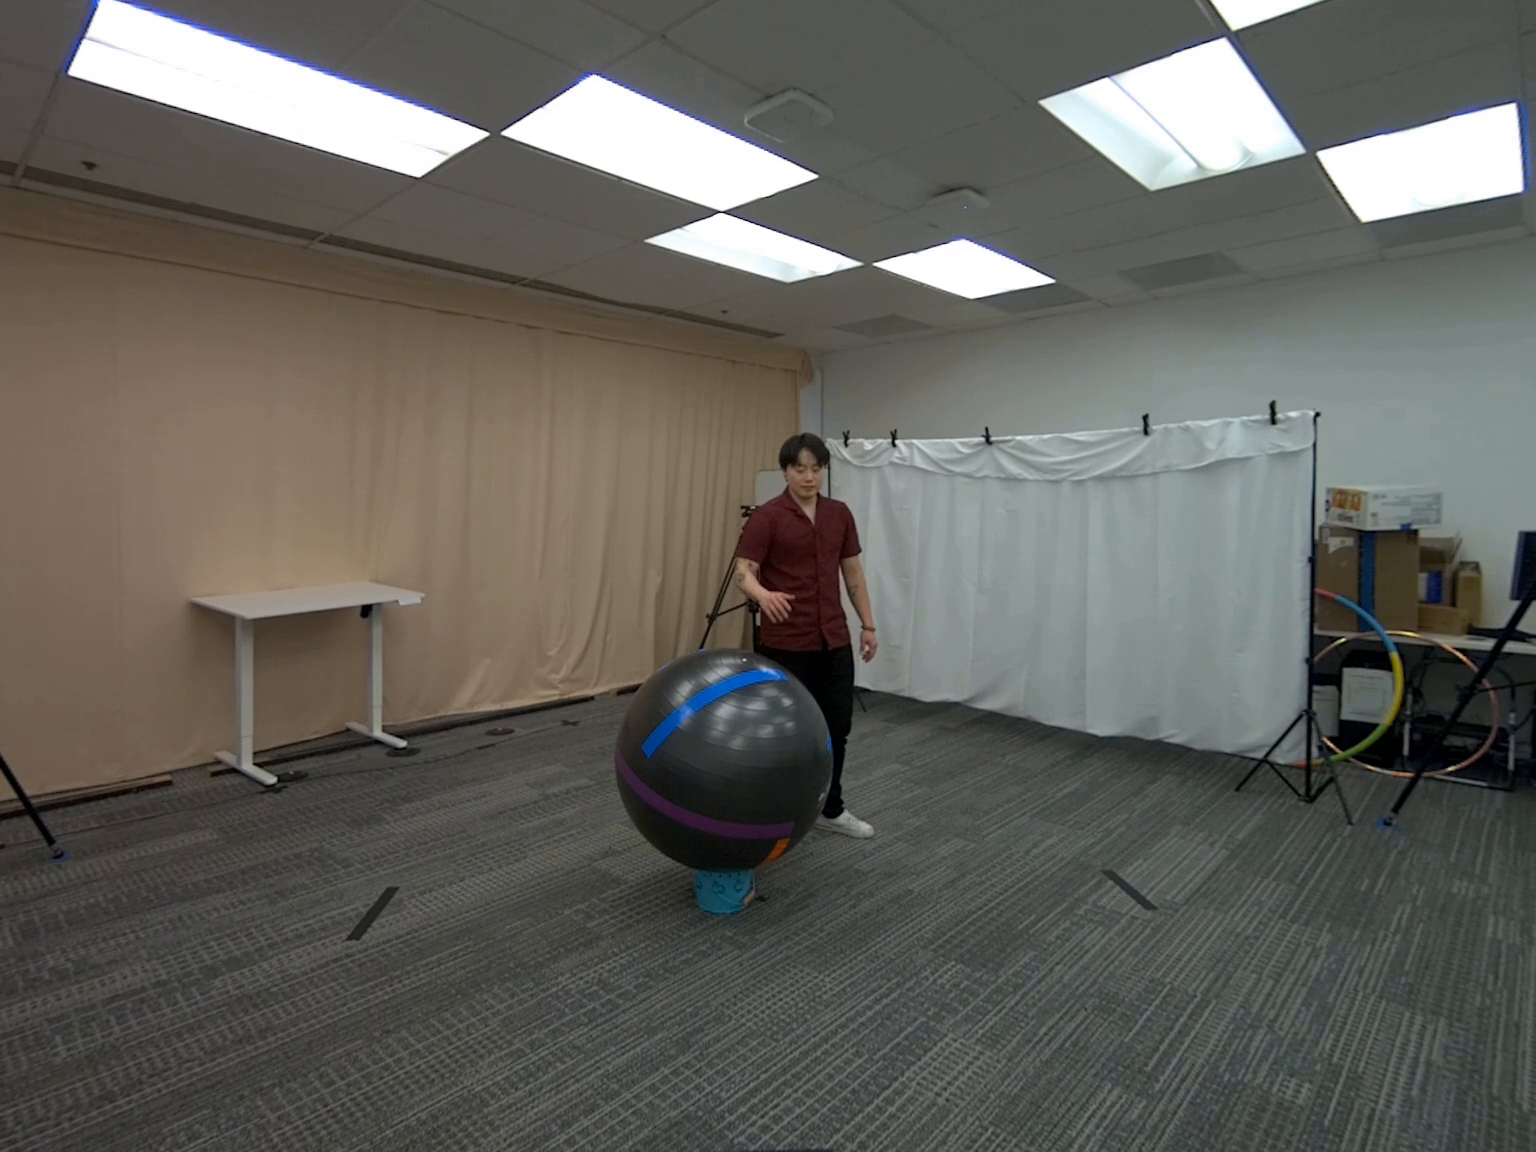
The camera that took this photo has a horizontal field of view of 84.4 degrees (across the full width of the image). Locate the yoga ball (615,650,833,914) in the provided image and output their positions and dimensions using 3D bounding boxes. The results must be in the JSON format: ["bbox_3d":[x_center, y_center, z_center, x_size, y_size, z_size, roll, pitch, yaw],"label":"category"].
[{"bbox_3d":[-0.156,0.643,2.928,0.757,0.756,0.760,0,4,-2],"label":"yoga ball"}]
